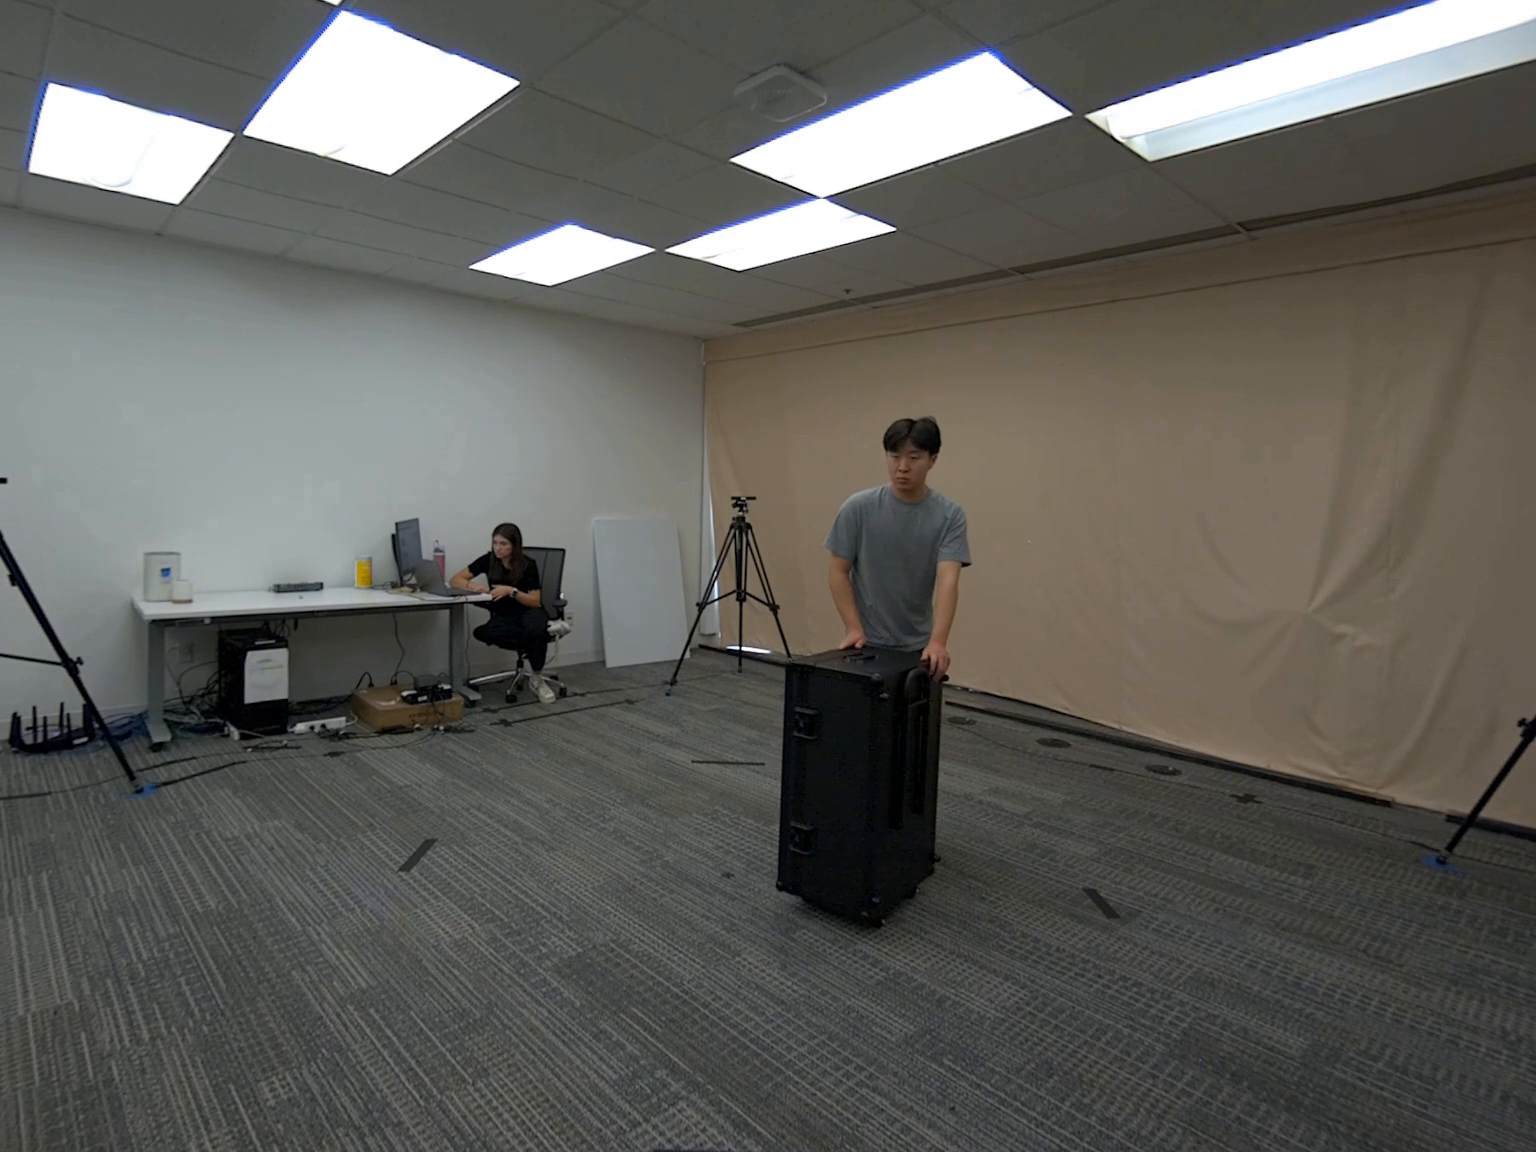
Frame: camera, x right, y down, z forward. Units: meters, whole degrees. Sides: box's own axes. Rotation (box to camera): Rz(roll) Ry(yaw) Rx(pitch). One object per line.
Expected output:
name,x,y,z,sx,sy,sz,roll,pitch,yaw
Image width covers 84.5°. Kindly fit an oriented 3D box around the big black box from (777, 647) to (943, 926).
big black box,0.330,0.714,2.903,0.406,0.859,0.510,5,5,36
